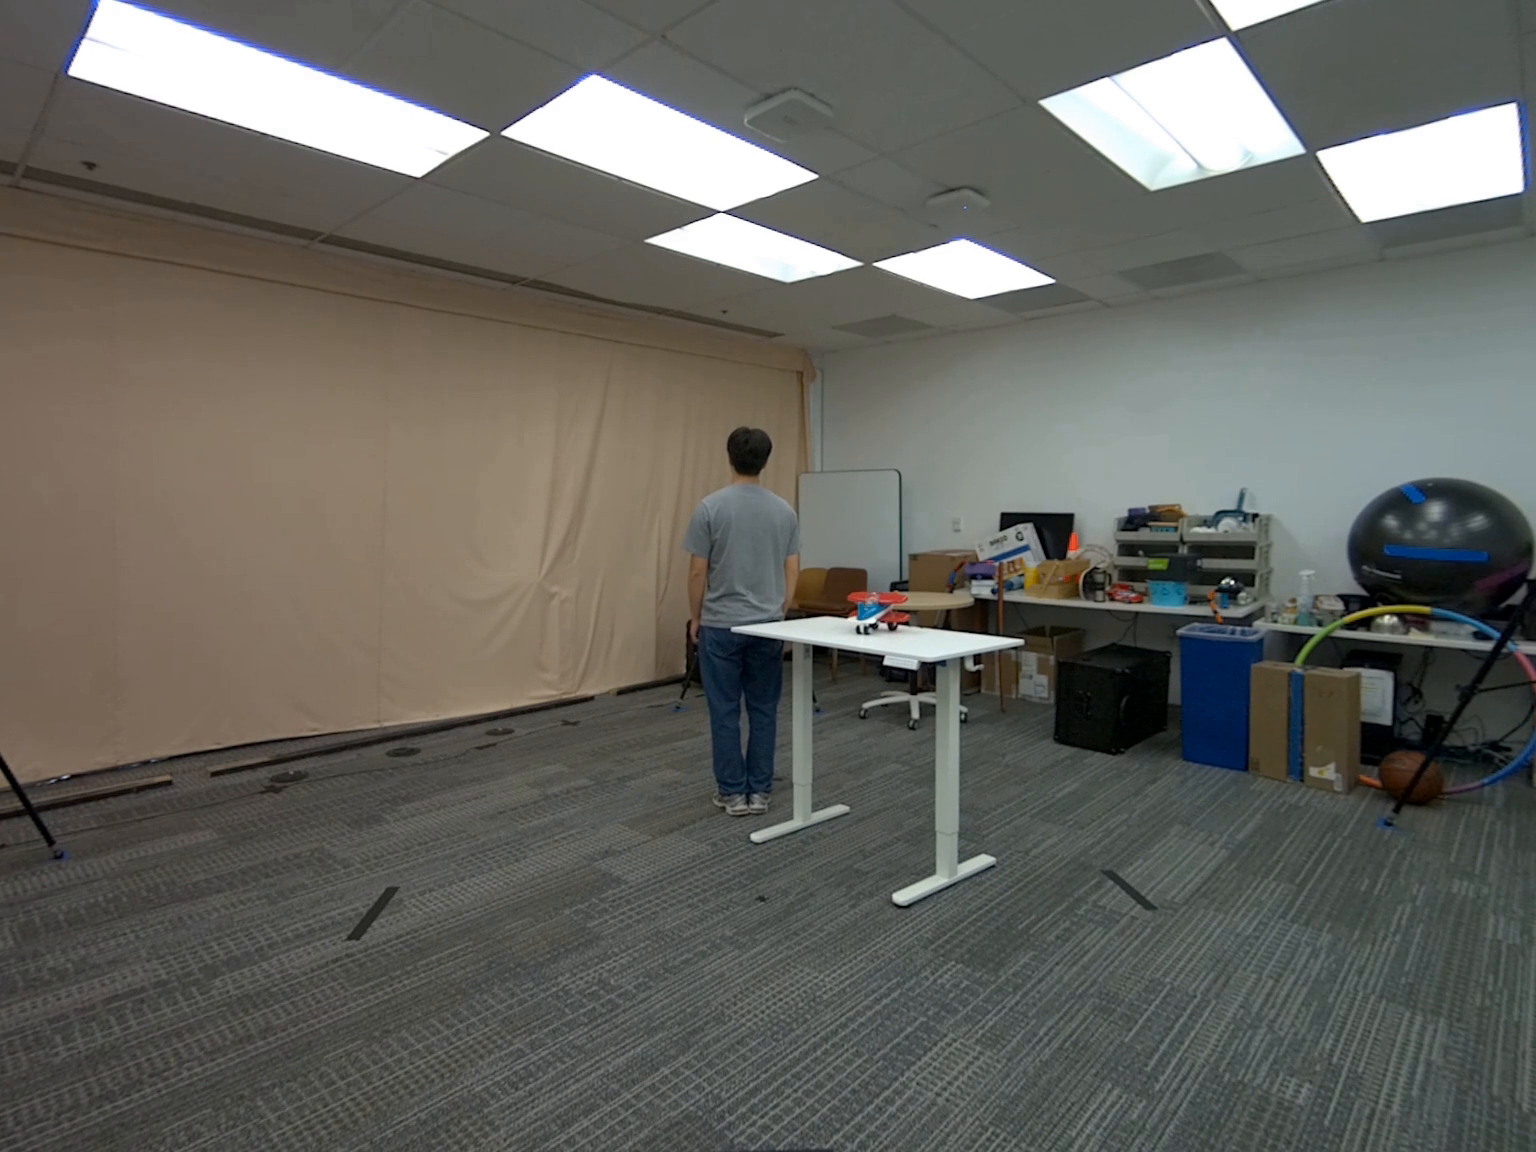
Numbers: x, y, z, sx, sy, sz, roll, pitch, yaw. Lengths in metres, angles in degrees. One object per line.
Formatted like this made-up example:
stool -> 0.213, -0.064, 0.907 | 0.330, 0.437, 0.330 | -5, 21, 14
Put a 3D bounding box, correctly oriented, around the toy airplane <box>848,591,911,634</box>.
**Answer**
toy airplane -> 0.448, 0.150, 3.389 | 0.253, 0.156, 0.257 | 0, 2, 8
